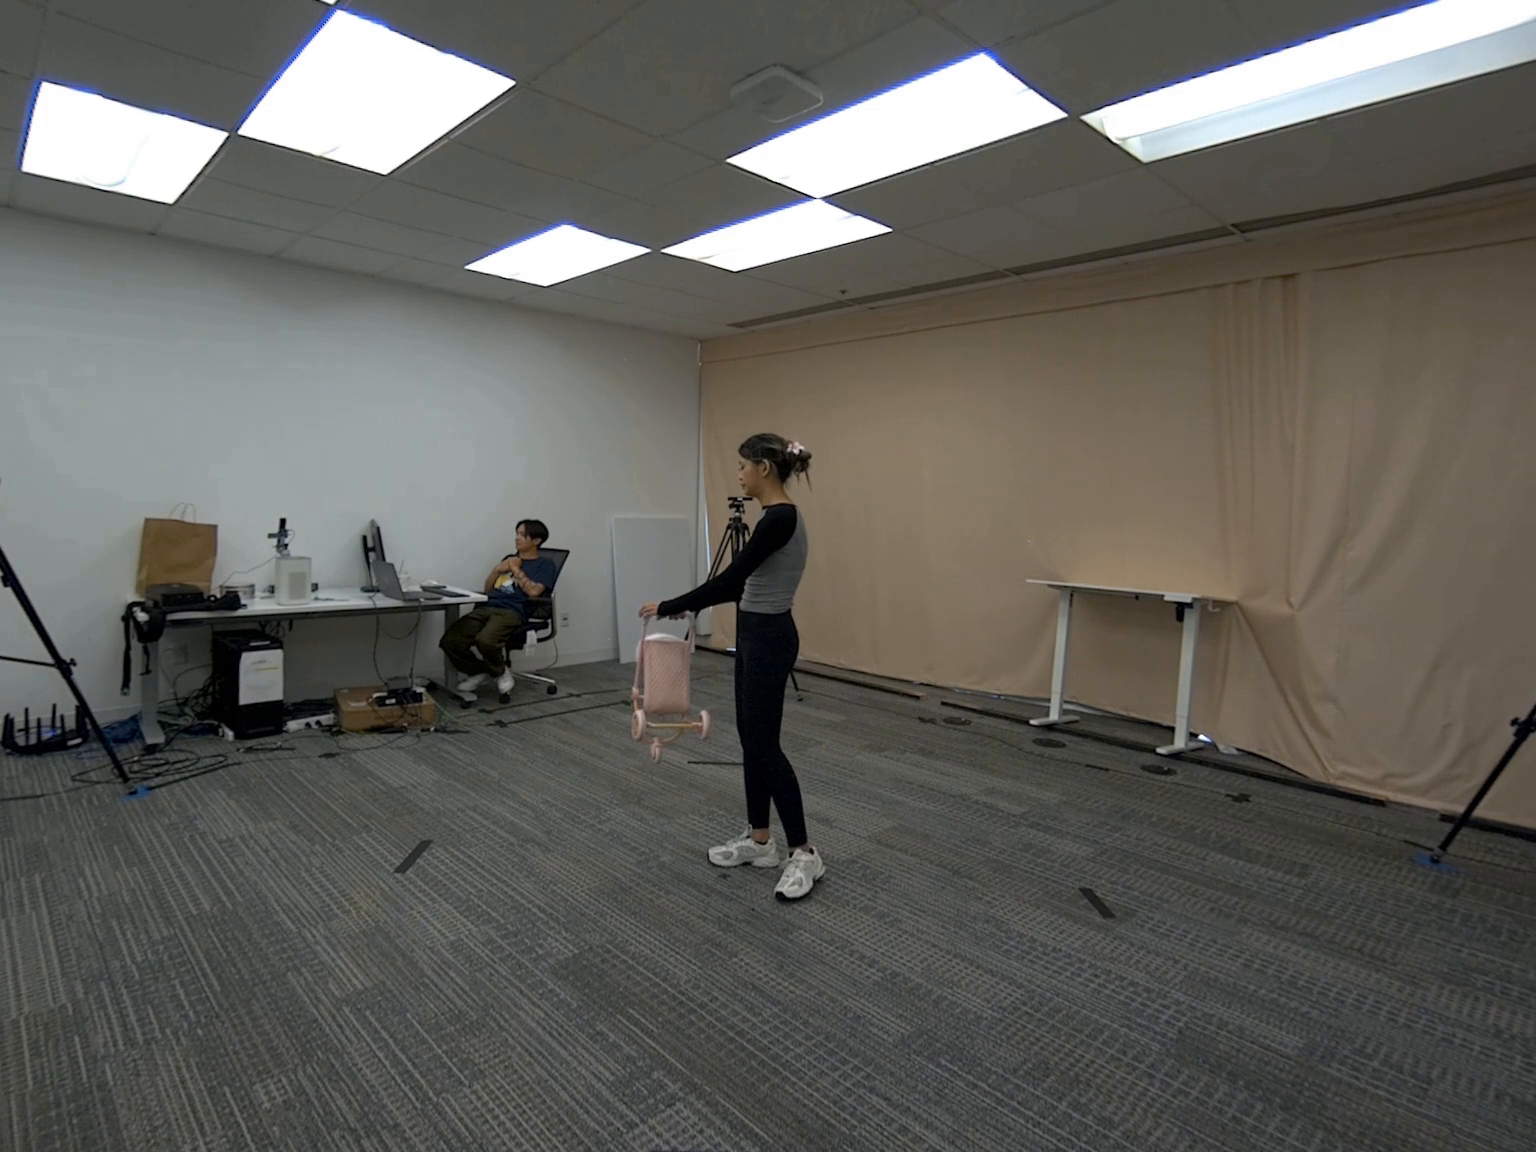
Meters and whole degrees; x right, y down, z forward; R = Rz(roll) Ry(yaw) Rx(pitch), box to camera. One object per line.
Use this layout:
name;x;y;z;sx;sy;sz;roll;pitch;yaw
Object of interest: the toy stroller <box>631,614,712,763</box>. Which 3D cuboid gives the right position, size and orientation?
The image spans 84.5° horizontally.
toy stroller;-0.405;0.433;3.228;0.278;0.543;0.341;2;-20;-17
